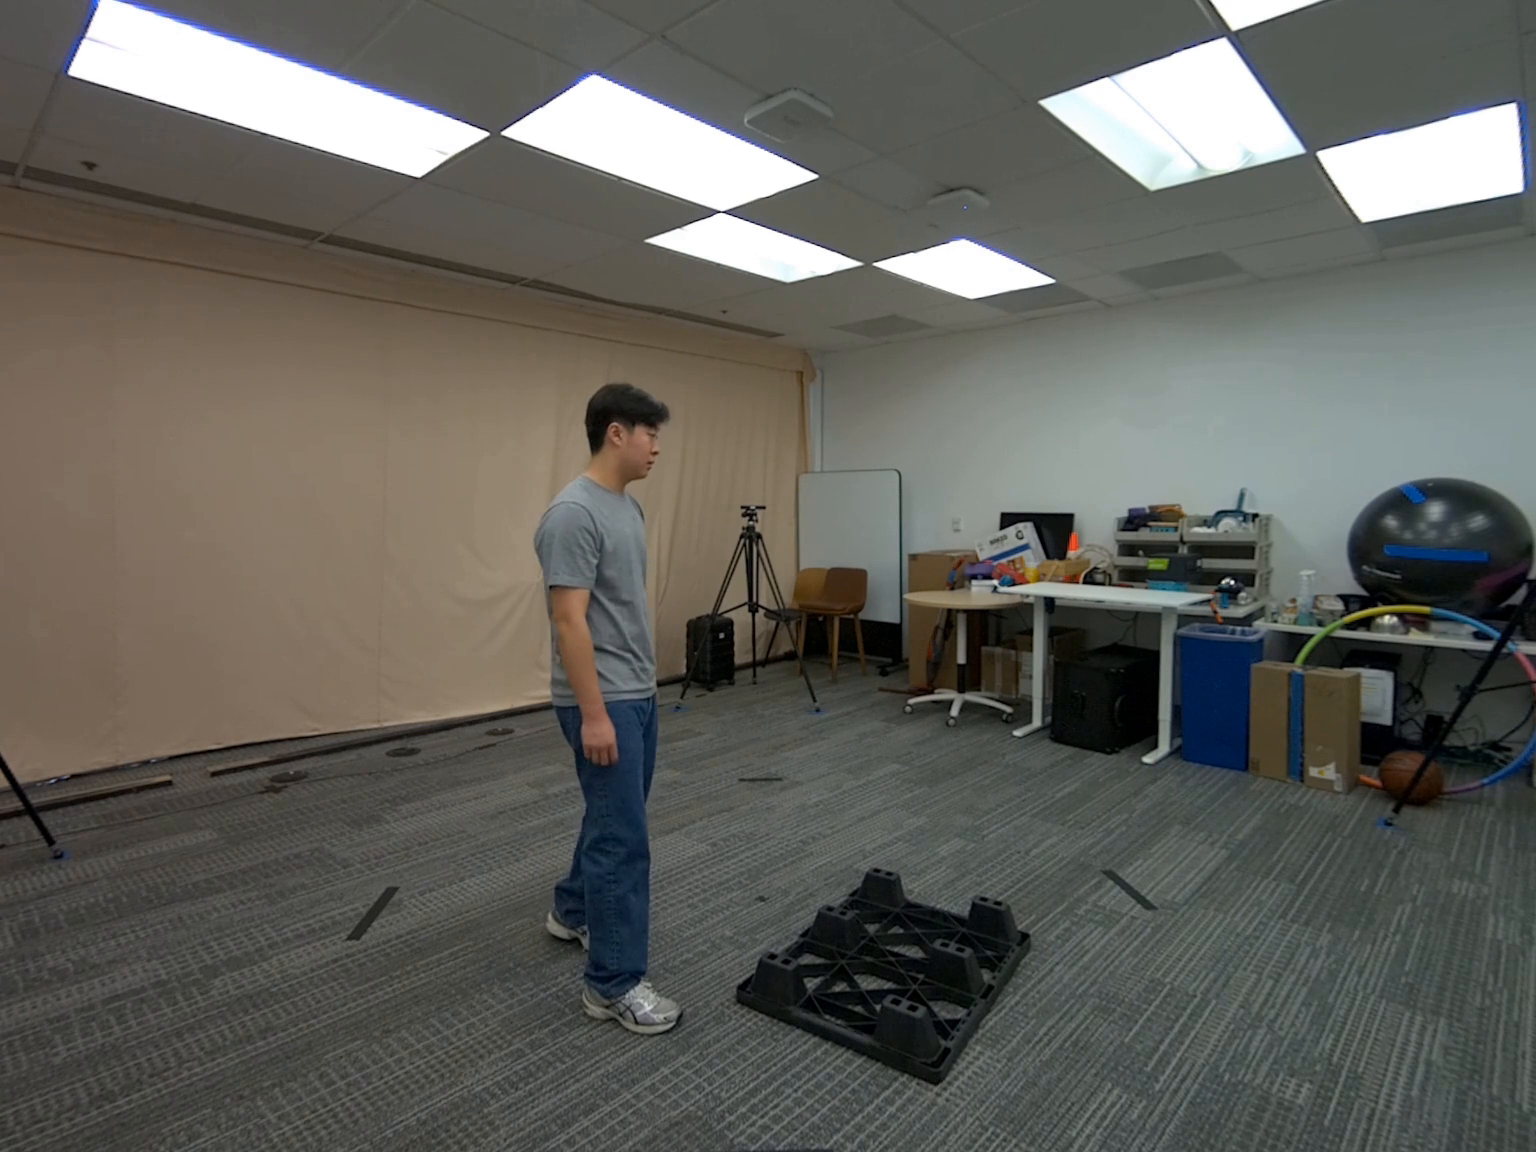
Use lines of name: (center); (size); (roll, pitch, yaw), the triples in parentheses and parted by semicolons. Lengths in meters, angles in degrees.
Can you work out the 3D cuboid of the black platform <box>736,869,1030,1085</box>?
black platform: (0.374, 1.118, 2.498); (0.624, 0.143, 0.783); (3, 6, 33)
